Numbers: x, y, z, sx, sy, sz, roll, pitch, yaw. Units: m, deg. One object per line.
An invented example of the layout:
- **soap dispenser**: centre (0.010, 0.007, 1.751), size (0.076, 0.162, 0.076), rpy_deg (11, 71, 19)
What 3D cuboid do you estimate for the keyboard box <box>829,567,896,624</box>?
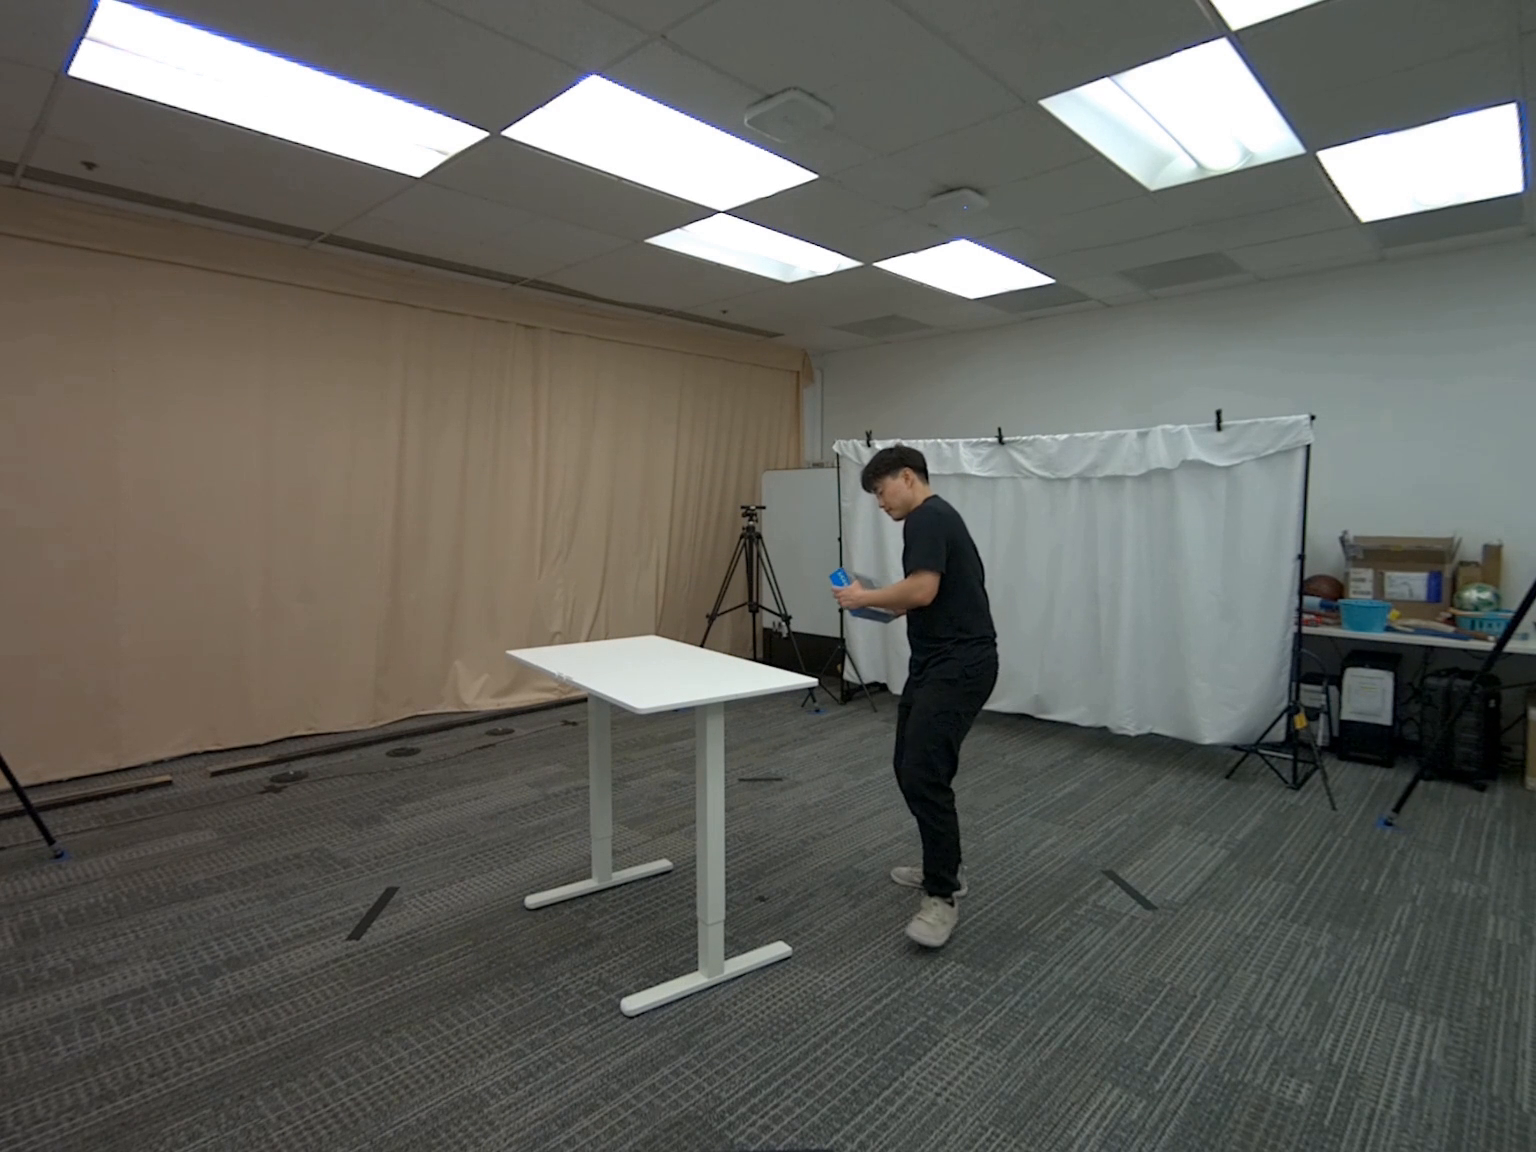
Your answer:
- **keyboard box**: centre (0.375, 0.085, 3.163), size (0.059, 0.180, 0.424), rpy_deg (-36, -21, 17)
